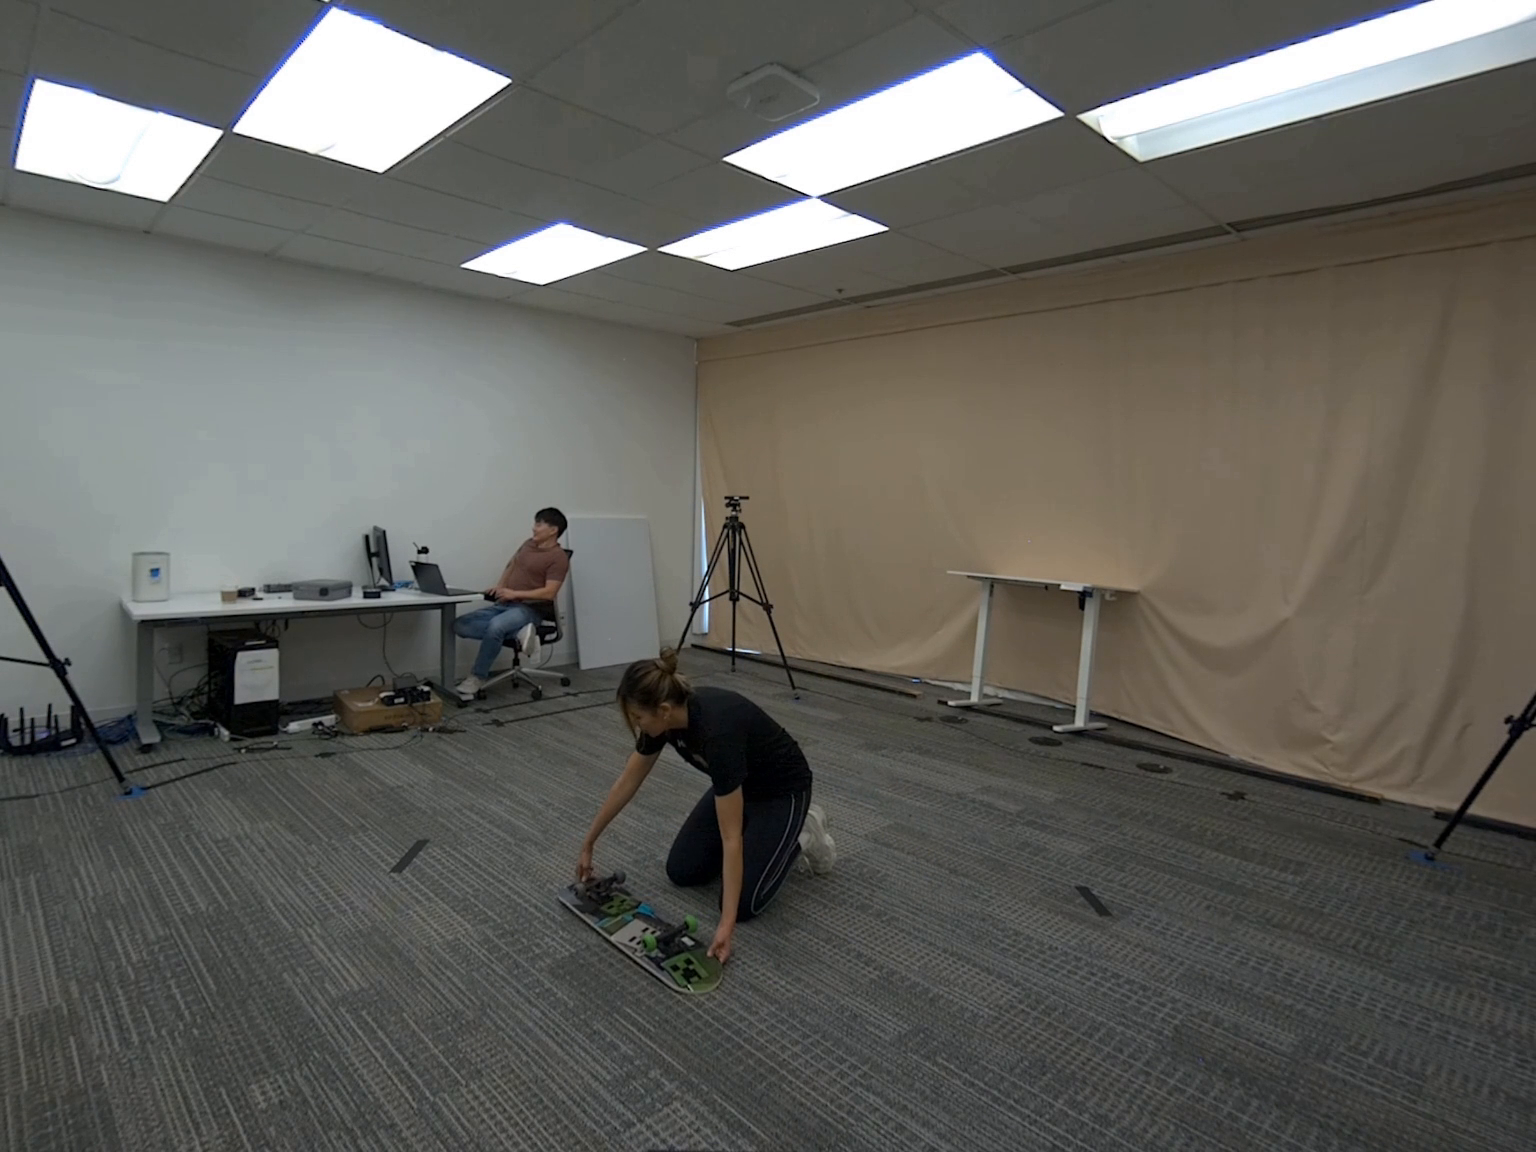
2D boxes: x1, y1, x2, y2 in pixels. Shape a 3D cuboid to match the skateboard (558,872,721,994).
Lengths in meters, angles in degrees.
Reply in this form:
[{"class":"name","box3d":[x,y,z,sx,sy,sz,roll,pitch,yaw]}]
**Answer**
[{"class":"skateboard","box3d":[-0.433,1.080,2.665,0.189,0.110,0.806,-9,11,-41]}]
